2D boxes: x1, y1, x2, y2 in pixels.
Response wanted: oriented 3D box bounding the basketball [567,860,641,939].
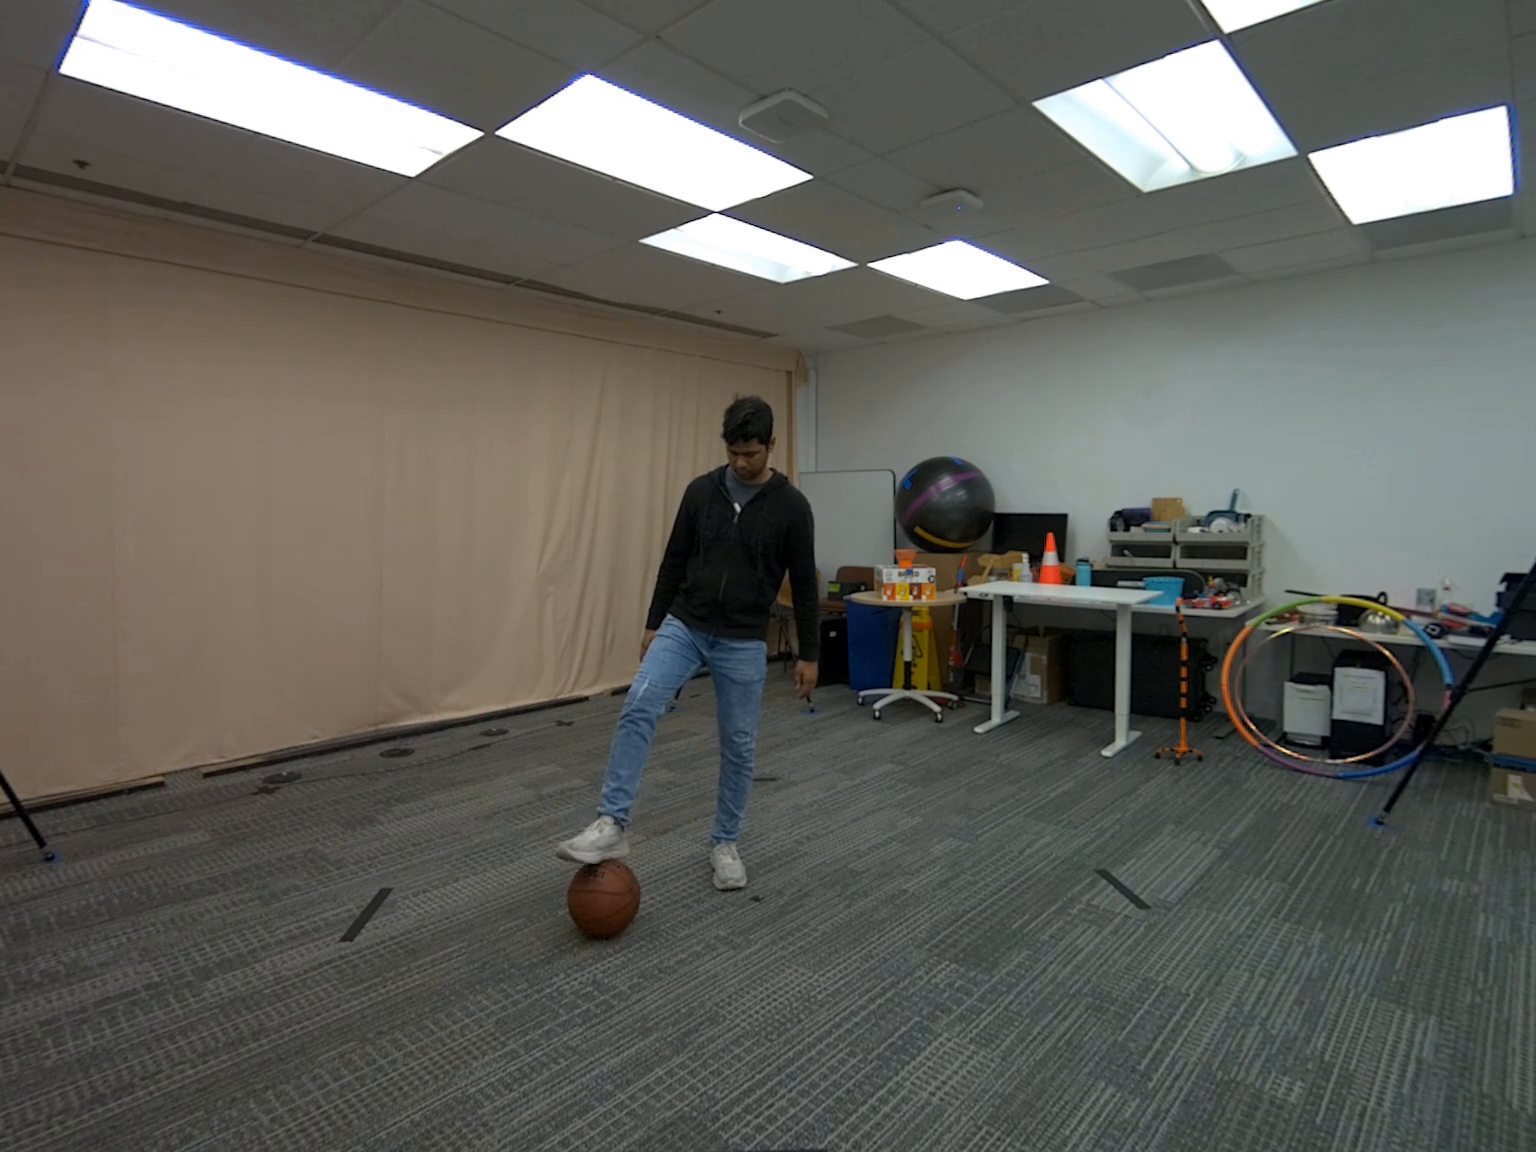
[{"bbox_3d":[-0.530,1.049,2.758,0.236,0.235,0.237,0,4,-2],"label":"basketball"}]
